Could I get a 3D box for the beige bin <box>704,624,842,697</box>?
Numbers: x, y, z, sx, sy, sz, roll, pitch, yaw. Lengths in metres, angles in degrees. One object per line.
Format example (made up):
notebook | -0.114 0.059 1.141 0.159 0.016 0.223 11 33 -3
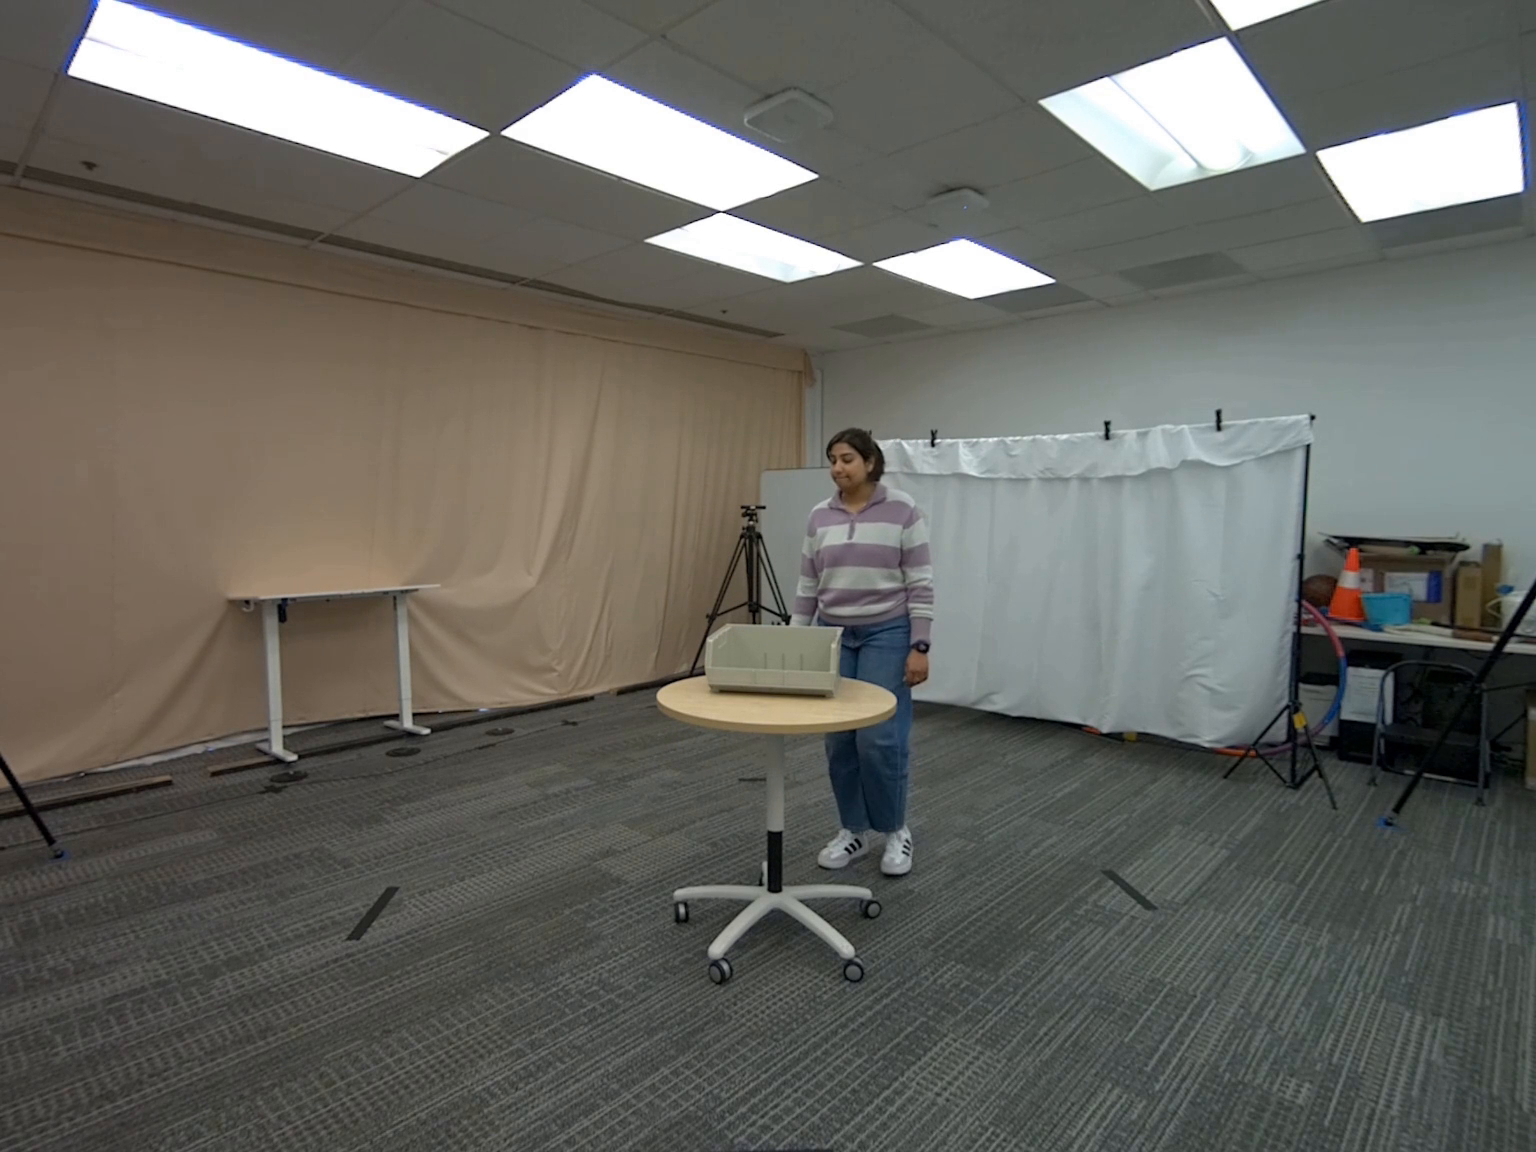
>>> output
beige bin | 0.036 0.287 2.814 0.428 0.189 0.373 1 2 11
